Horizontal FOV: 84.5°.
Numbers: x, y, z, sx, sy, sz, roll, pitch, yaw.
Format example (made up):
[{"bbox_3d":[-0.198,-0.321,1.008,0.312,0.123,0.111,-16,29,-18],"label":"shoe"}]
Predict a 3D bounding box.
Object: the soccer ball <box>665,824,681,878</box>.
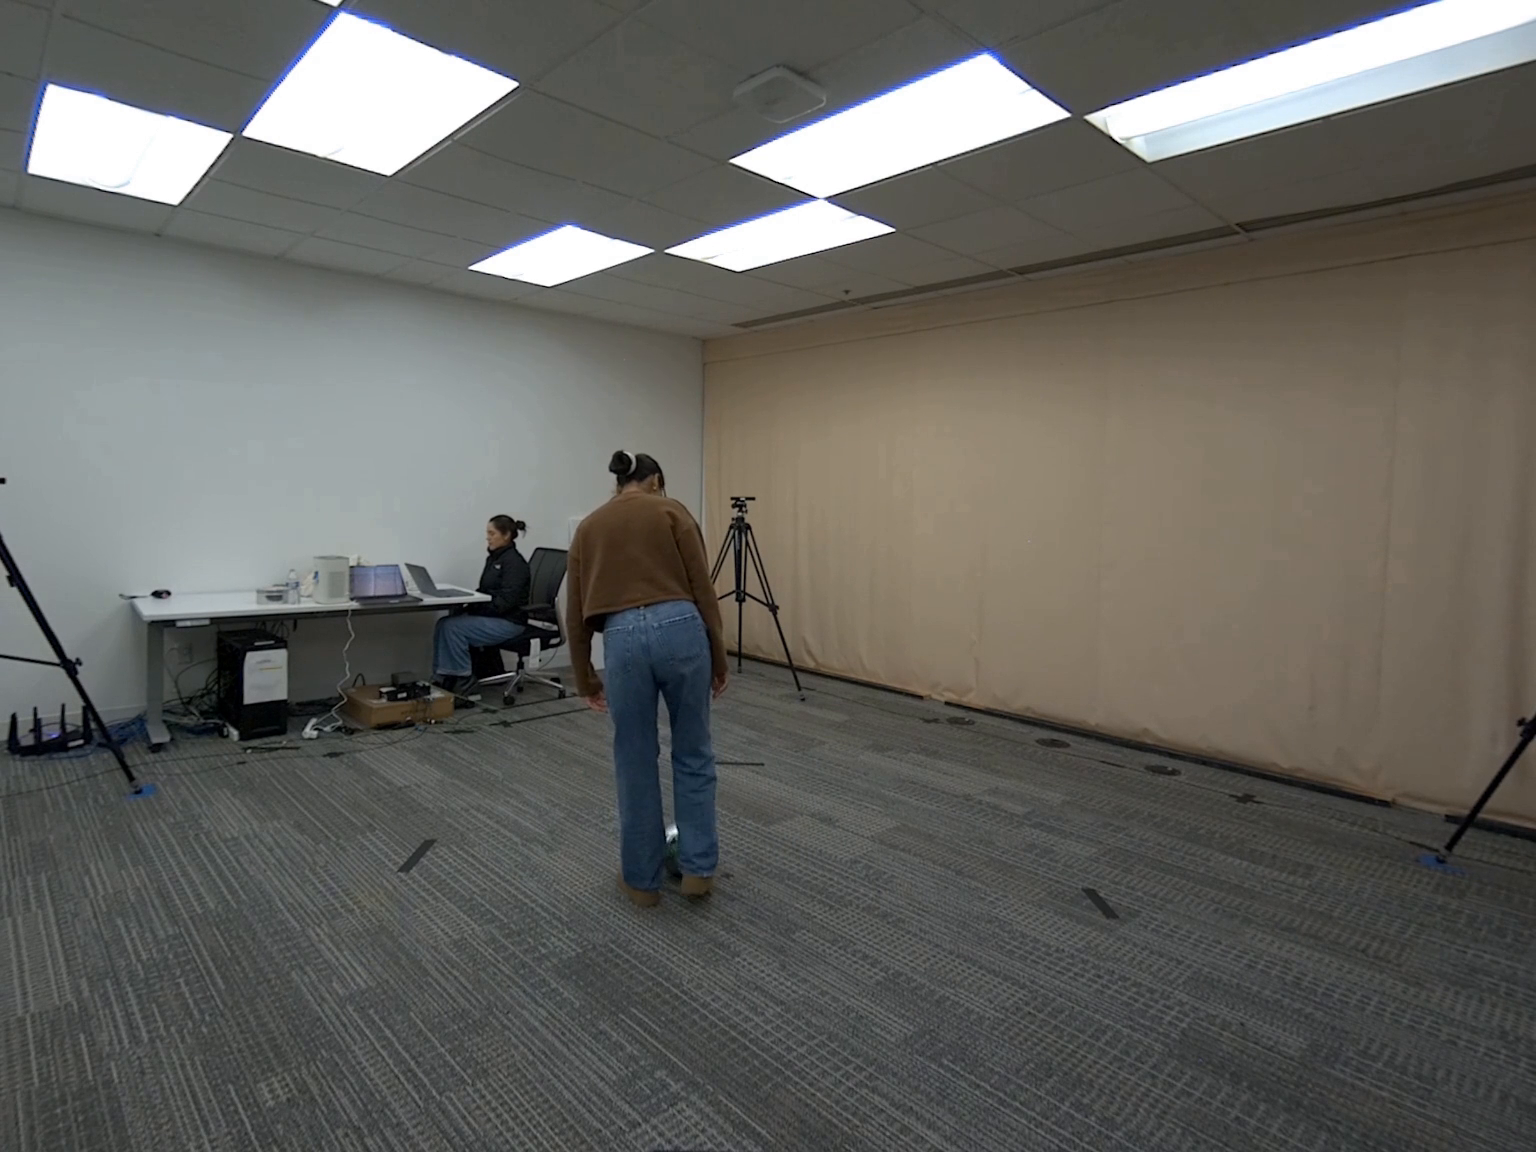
[{"bbox_3d":[-0.328,1.013,3.122,0.187,0.187,0.188,1,4,-1],"label":"soccer ball"}]
